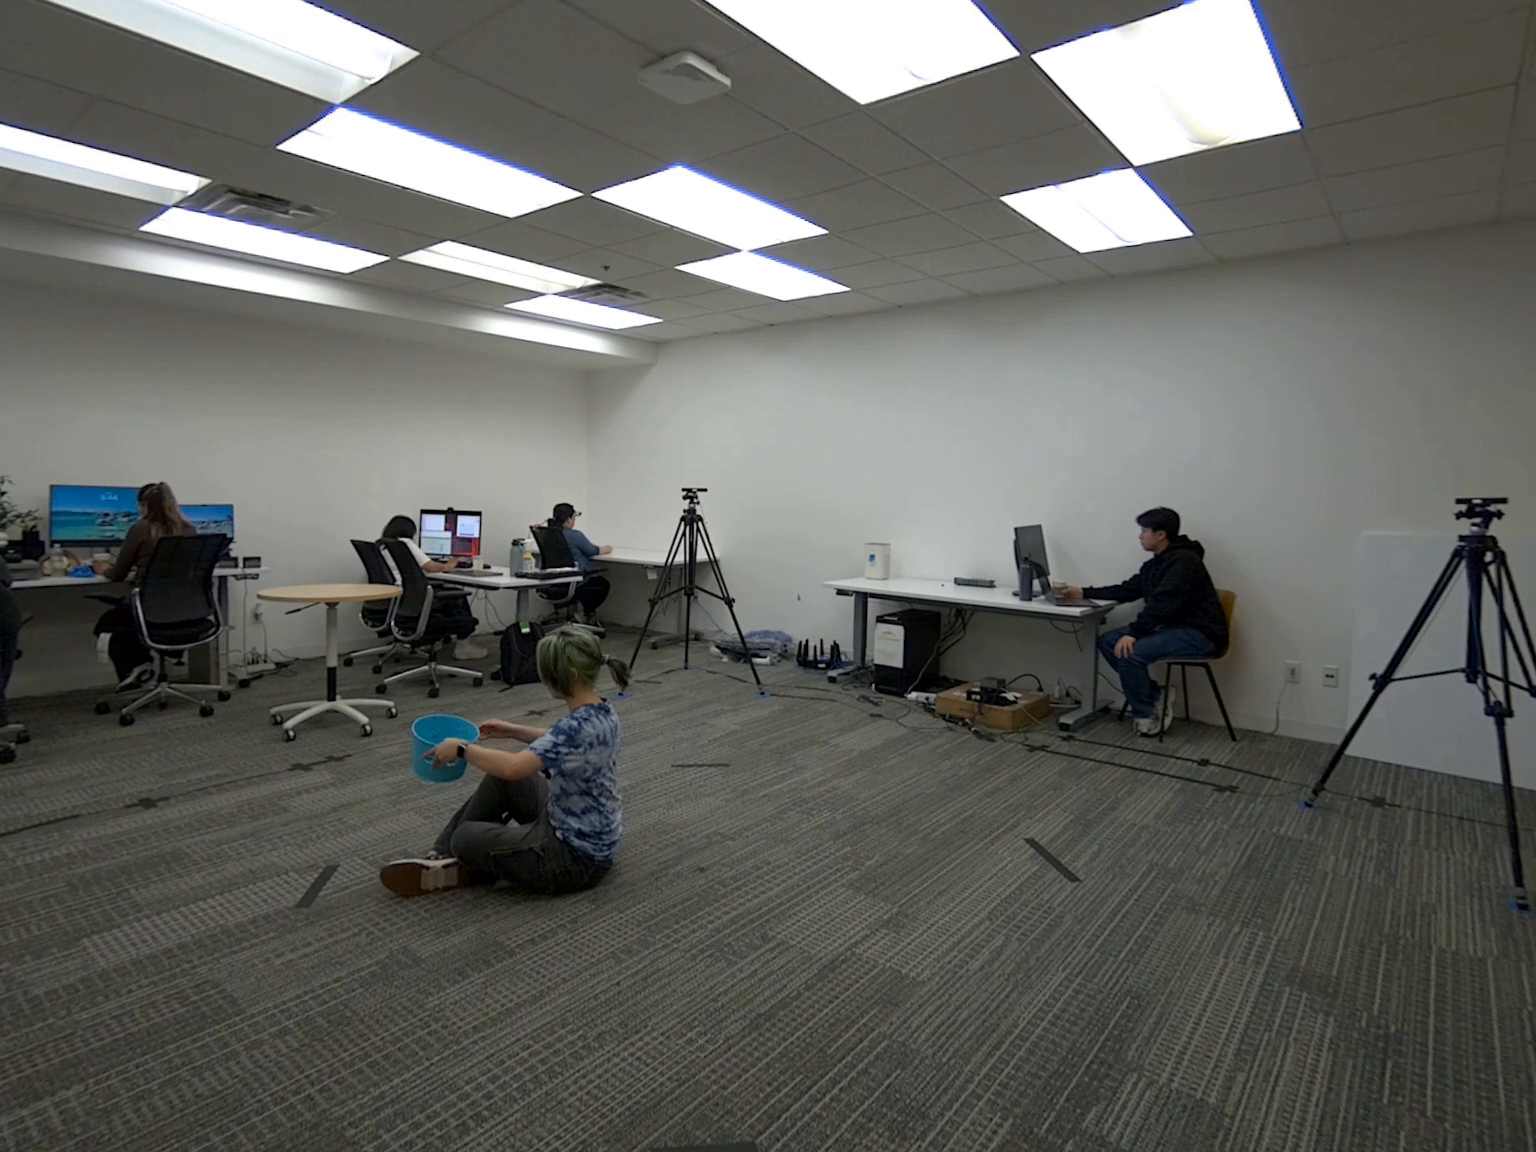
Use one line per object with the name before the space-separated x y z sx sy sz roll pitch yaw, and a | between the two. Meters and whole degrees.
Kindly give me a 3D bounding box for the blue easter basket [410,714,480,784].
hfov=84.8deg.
blue easter basket | -1.157 0.613 2.988 0.242 0.154 0.247 12 14 -5
